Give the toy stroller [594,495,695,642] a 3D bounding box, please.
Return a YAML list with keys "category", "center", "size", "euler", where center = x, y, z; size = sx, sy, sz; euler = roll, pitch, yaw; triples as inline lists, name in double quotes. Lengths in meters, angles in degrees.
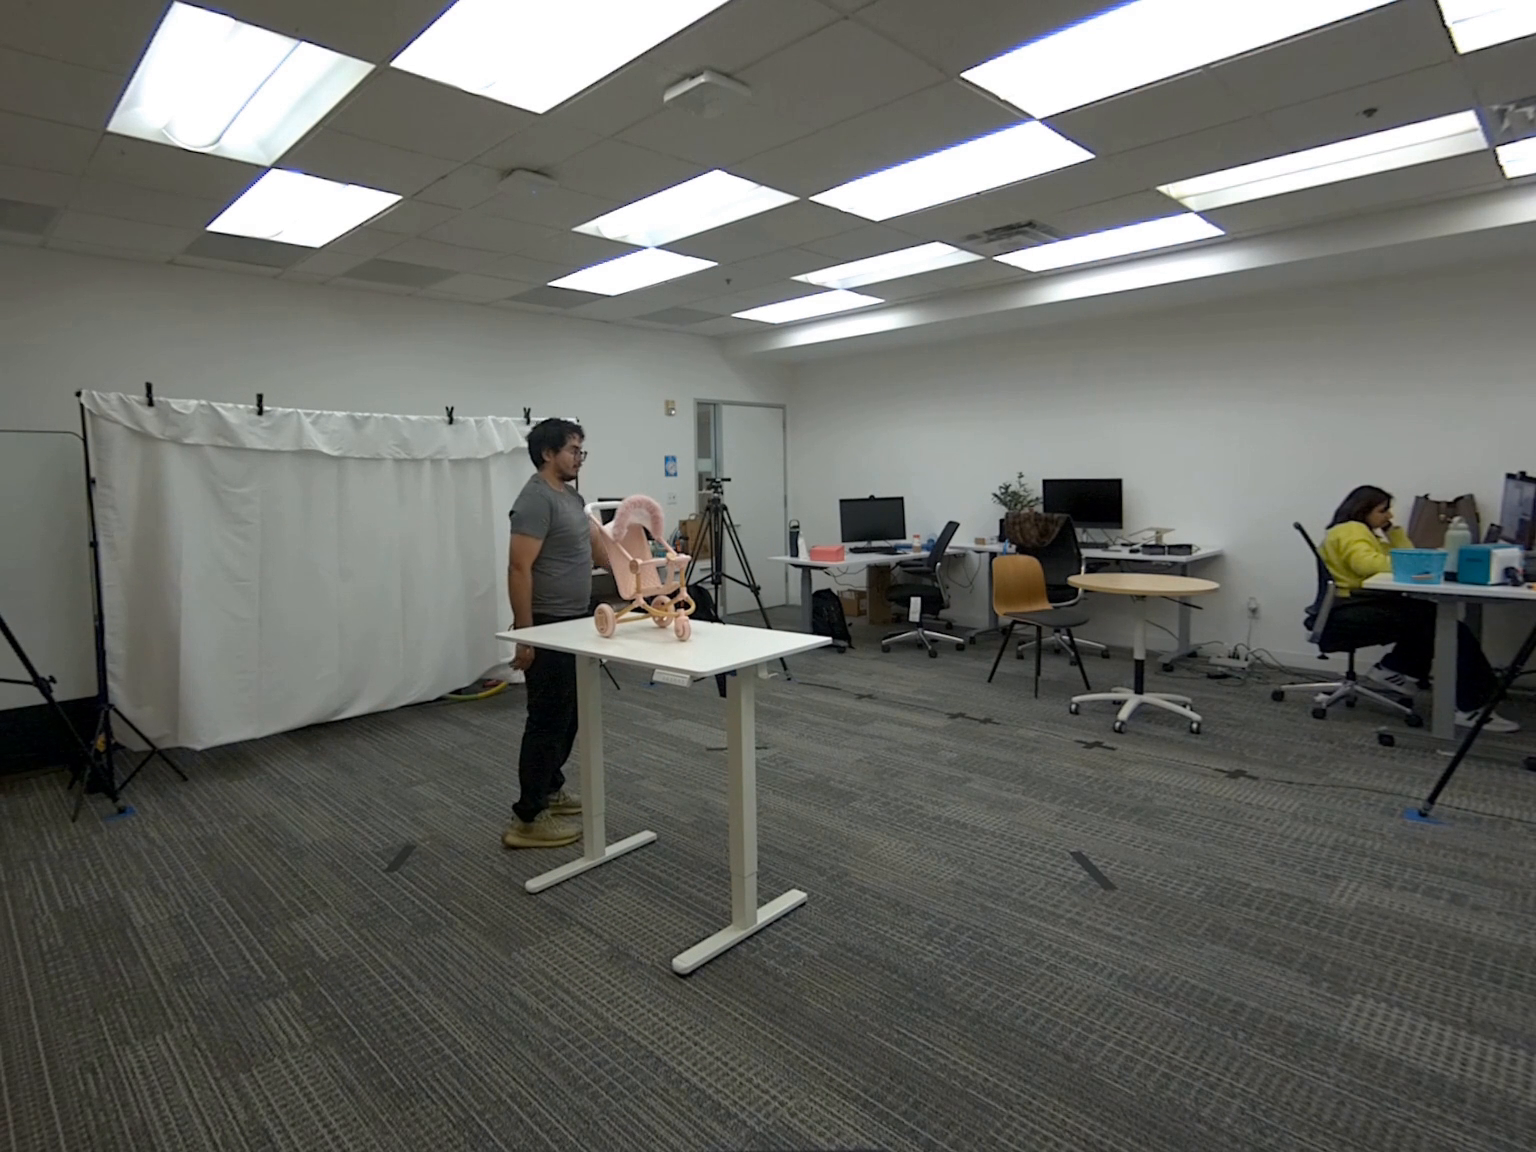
- category: "toy stroller"
  center: [-0.411, -0.030, 2.844]
  size: [0.274, 0.539, 0.348]
  euler: [-5, -9, -41]
